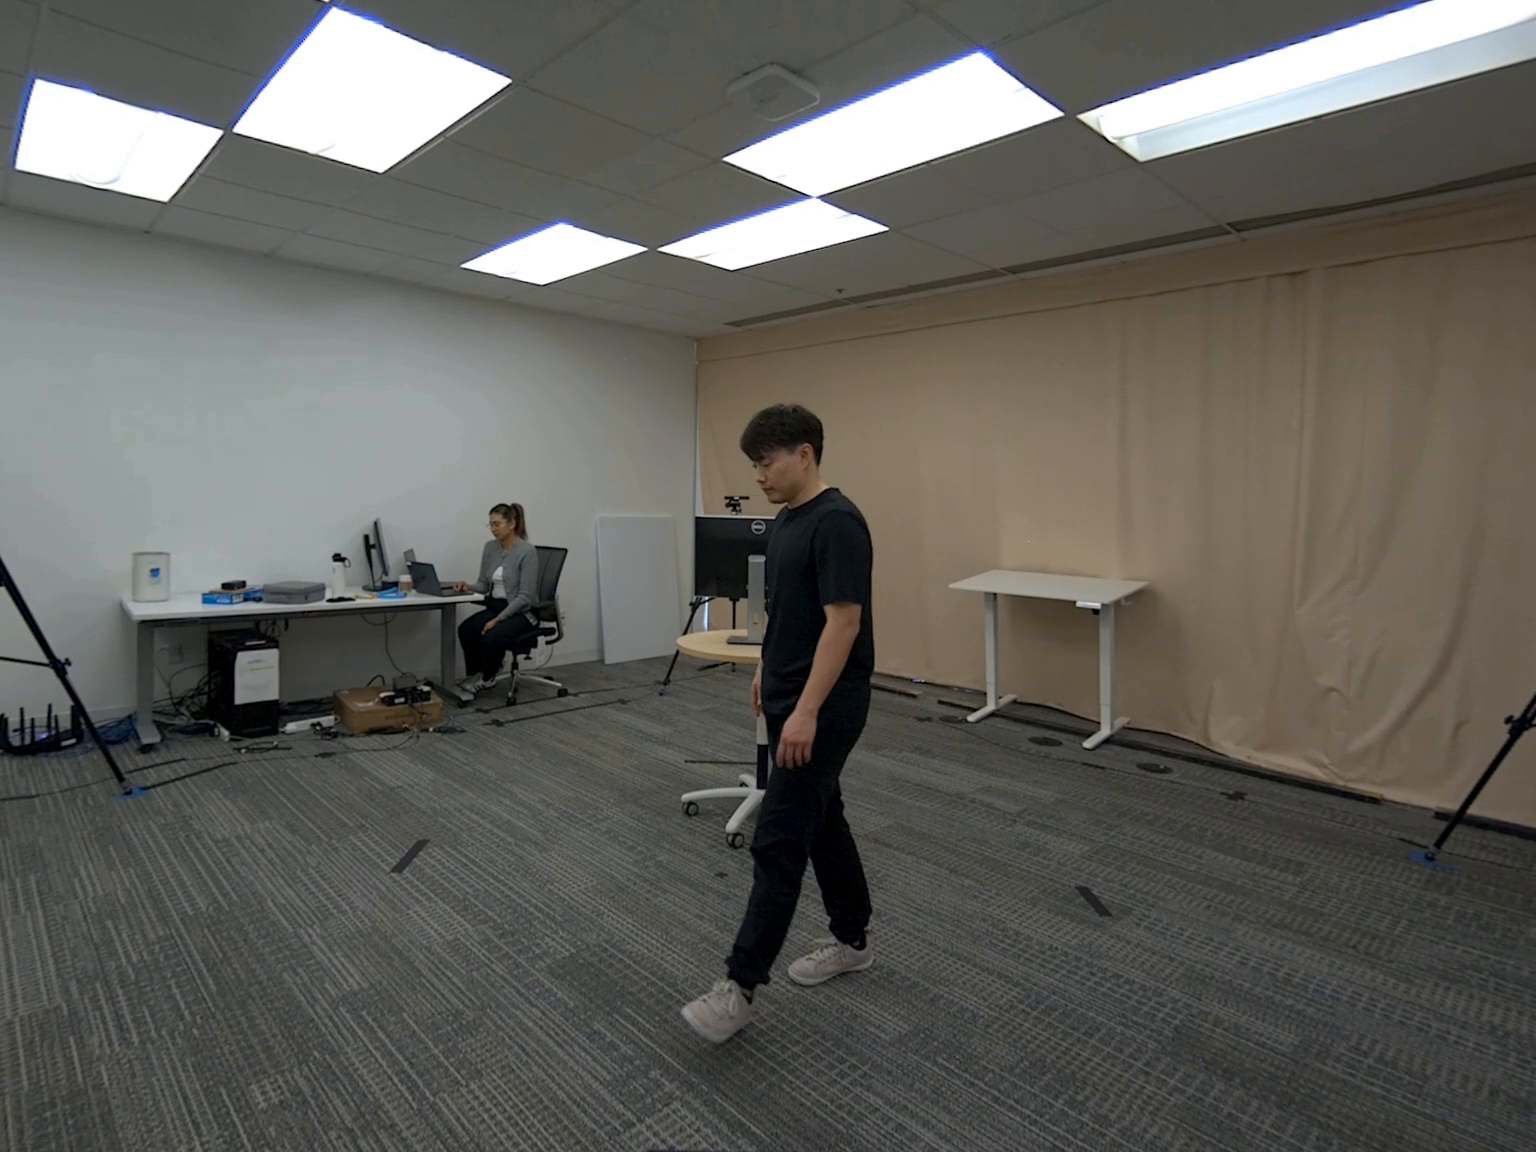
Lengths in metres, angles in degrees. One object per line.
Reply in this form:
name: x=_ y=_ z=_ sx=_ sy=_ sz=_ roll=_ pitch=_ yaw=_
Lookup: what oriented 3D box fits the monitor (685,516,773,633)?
monitor: x=-0.049 y=0.021 z=3.608 sx=0.540 sy=0.522 sz=0.187 roll=2 pitch=1 yaw=3
